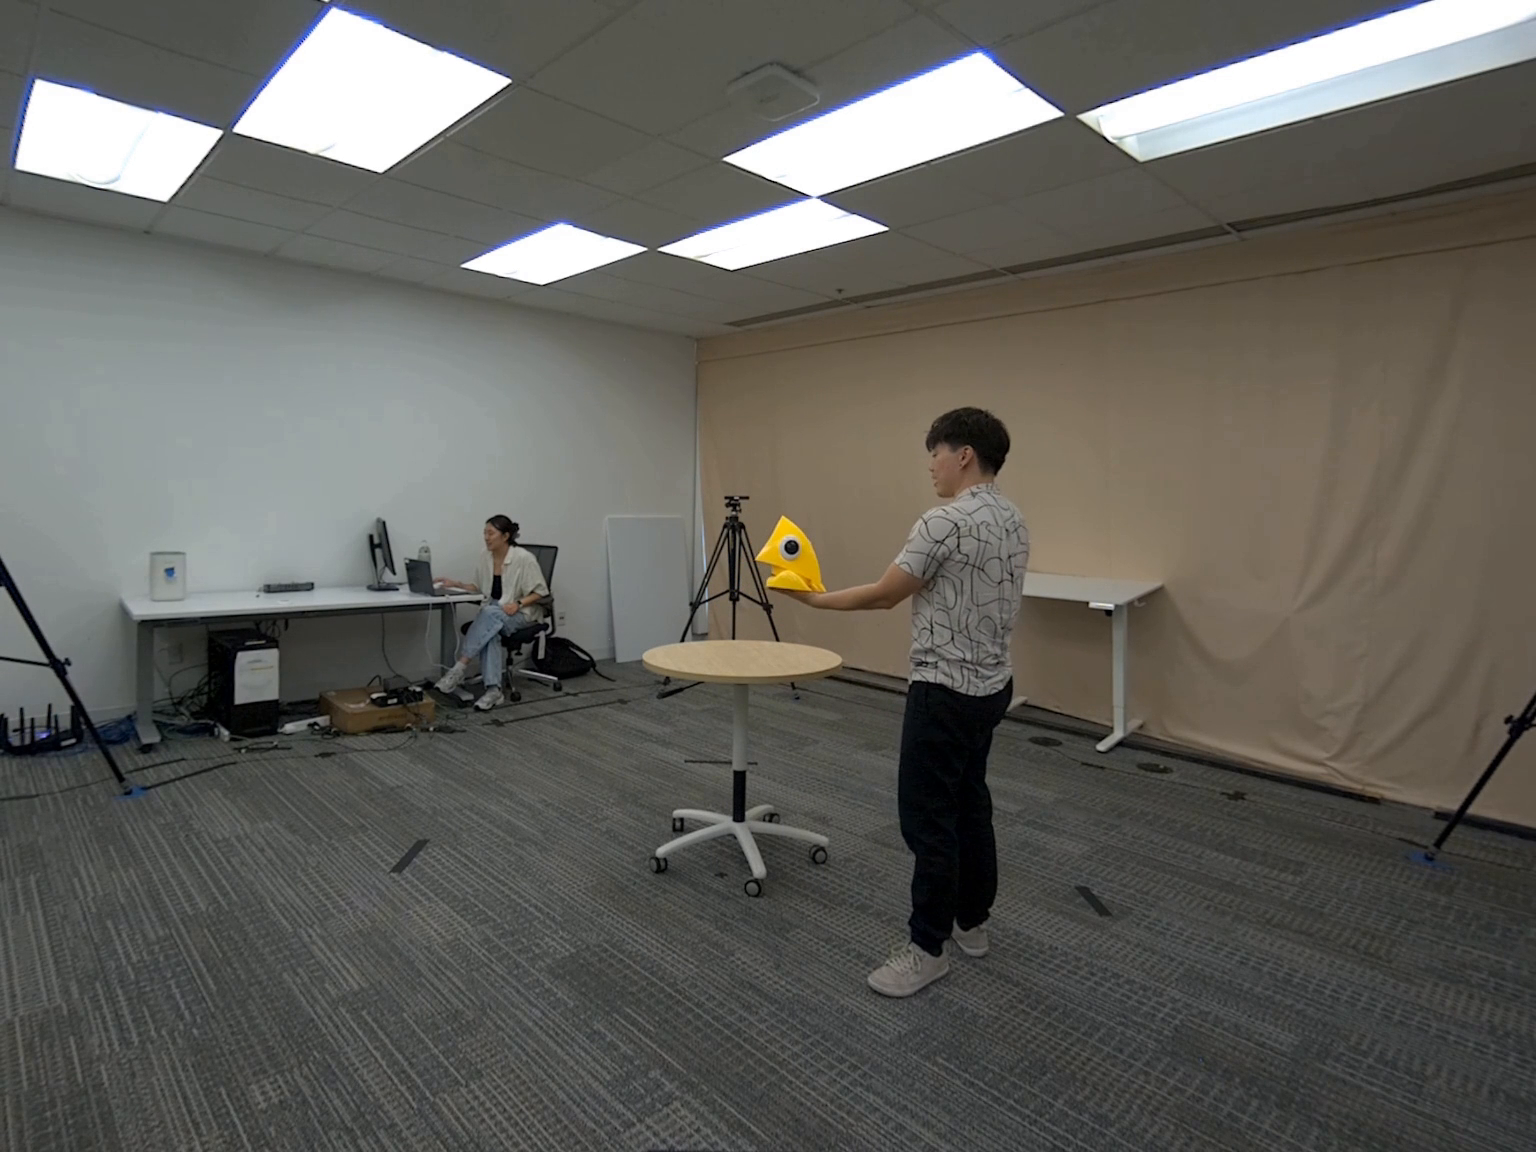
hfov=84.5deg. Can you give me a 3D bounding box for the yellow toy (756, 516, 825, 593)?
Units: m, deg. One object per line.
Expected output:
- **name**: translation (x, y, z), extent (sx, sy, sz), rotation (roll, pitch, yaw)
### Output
- **yellow toy**: translation (0.084, -0.071, 2.685), extent (0.197, 0.231, 0.200), rotation (5, -1, 27)
